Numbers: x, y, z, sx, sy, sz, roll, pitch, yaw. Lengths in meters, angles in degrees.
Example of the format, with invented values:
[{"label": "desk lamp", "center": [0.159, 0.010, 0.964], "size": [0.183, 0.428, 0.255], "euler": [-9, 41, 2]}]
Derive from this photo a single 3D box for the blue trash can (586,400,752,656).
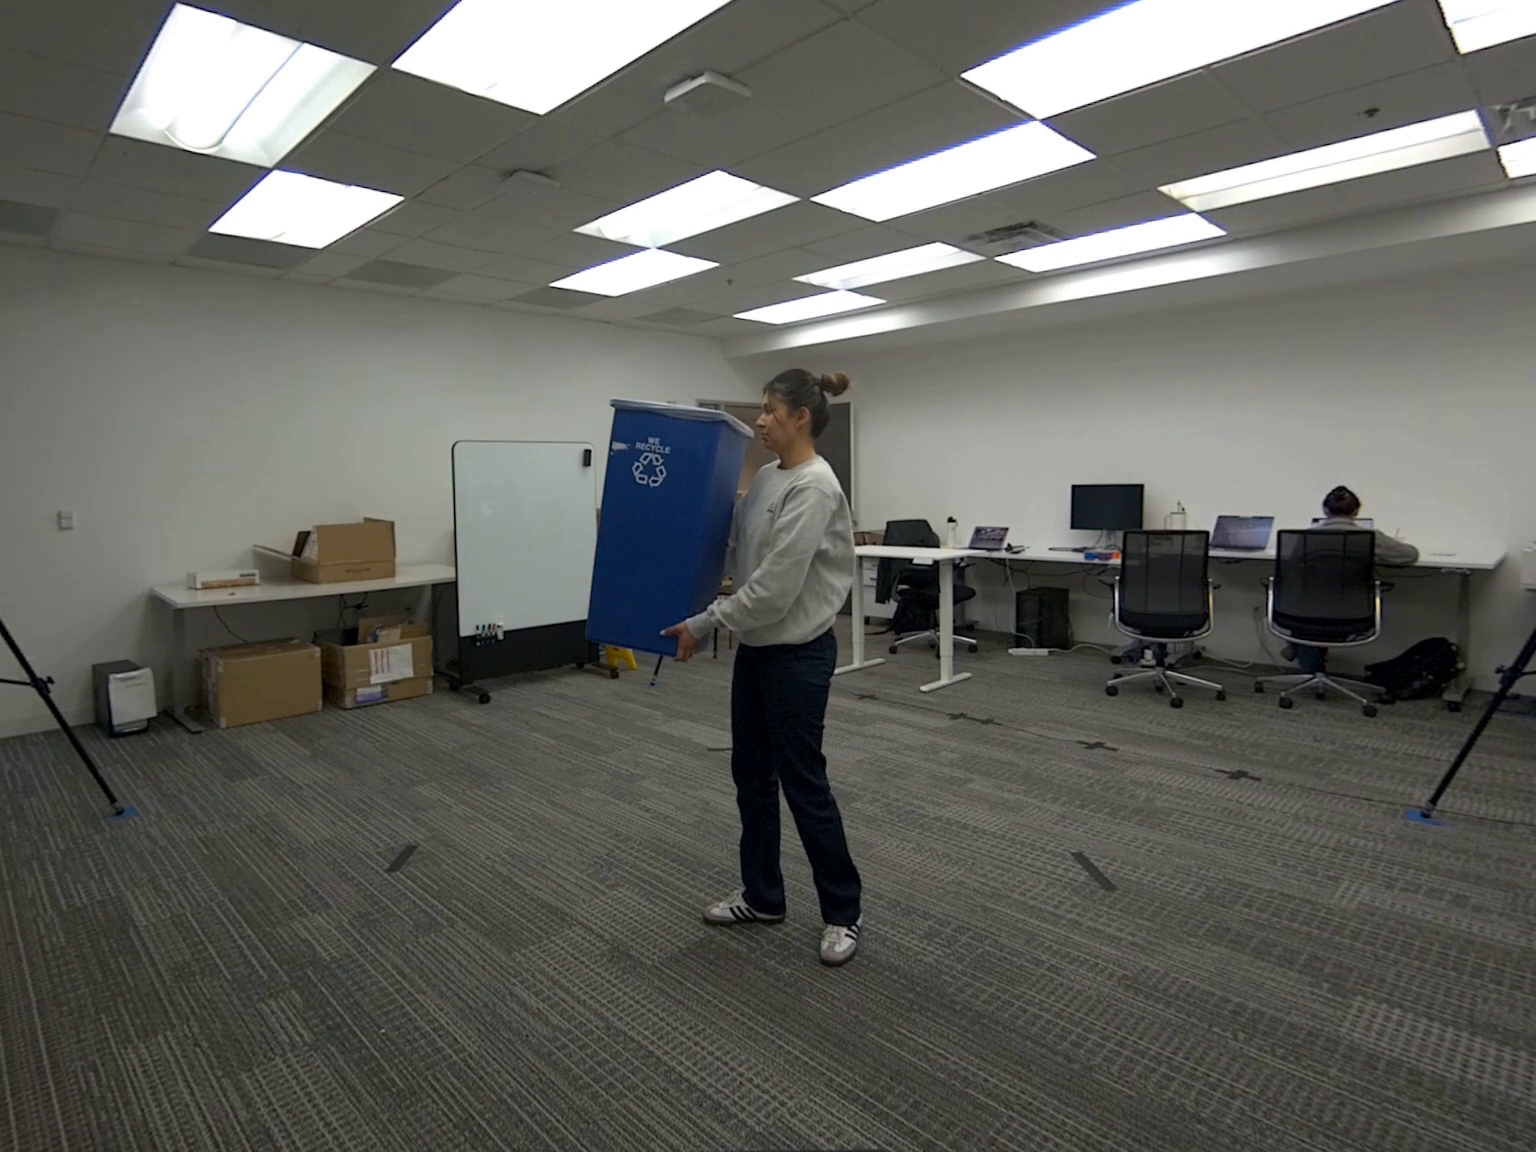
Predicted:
[{"label": "blue trash can", "center": [-0.303, -0.146, 2.615], "size": [0.380, 0.713, 0.372], "euler": [9, 1, 14]}]
